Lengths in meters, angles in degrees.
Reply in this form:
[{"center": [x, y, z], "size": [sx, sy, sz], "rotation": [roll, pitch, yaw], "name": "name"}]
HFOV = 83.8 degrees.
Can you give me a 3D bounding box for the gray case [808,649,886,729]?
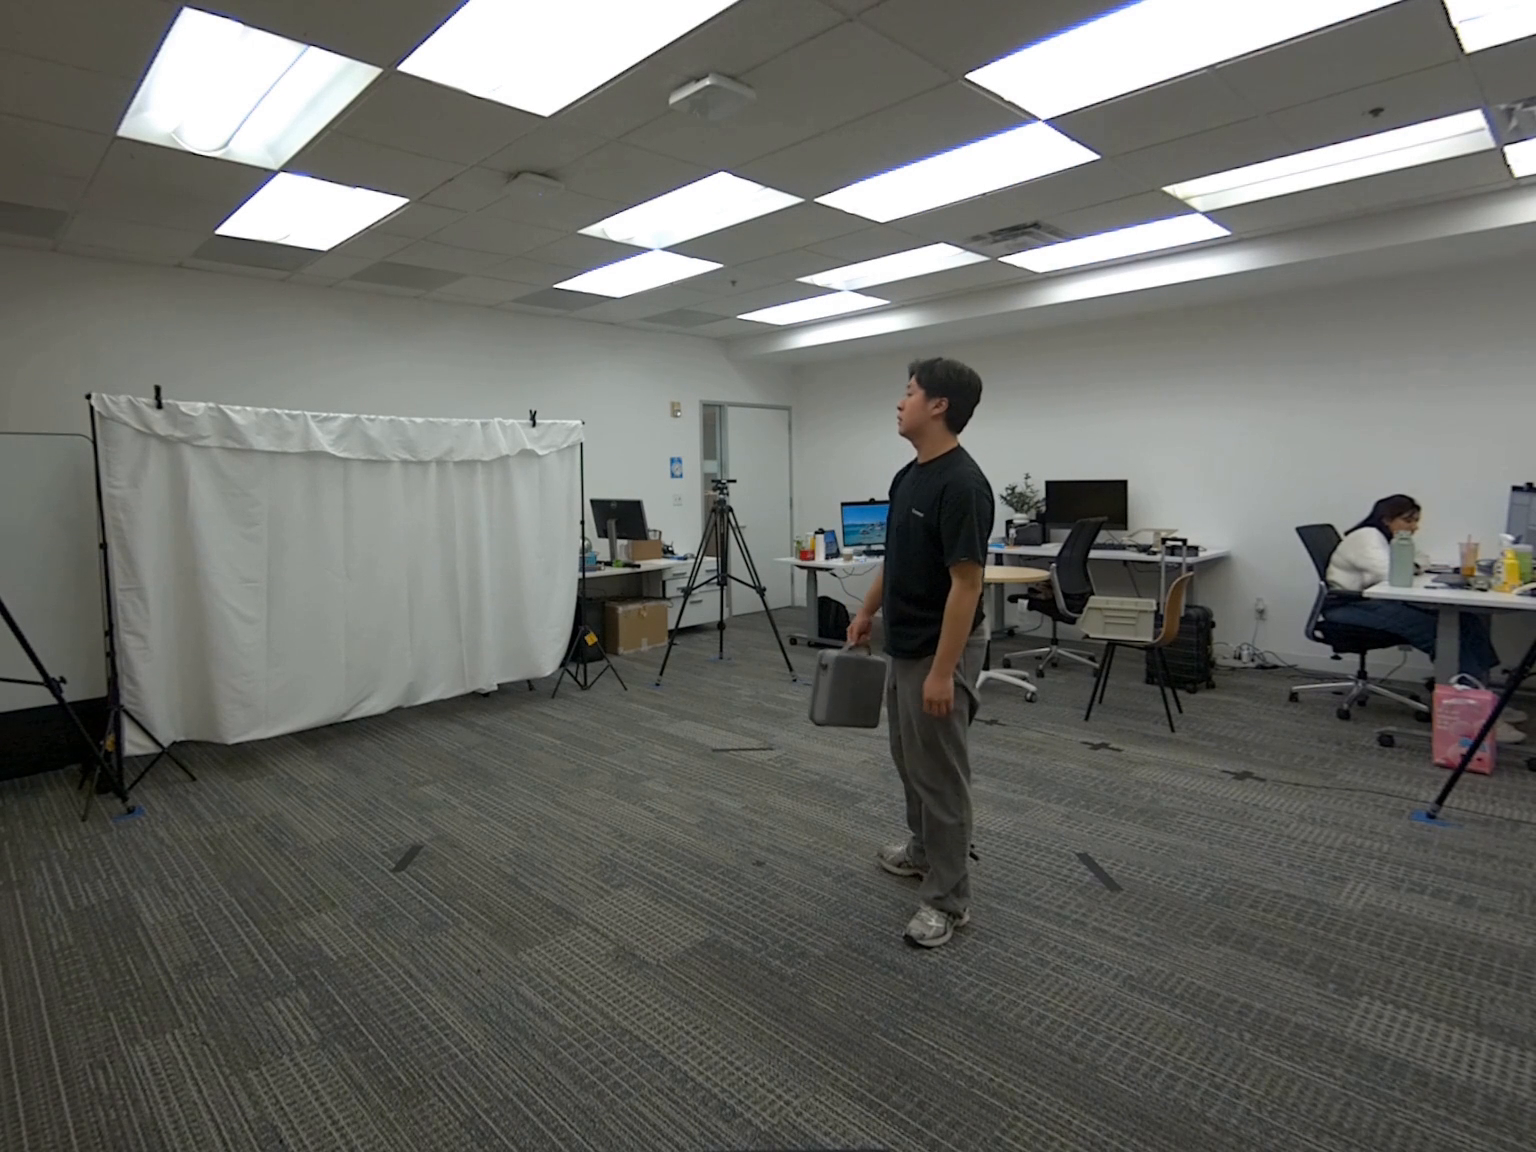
[{"center": [0.298, 0.379, 2.935], "size": [0.255, 0.287, 0.106], "rotation": [8, -2, -32], "name": "gray case"}]
